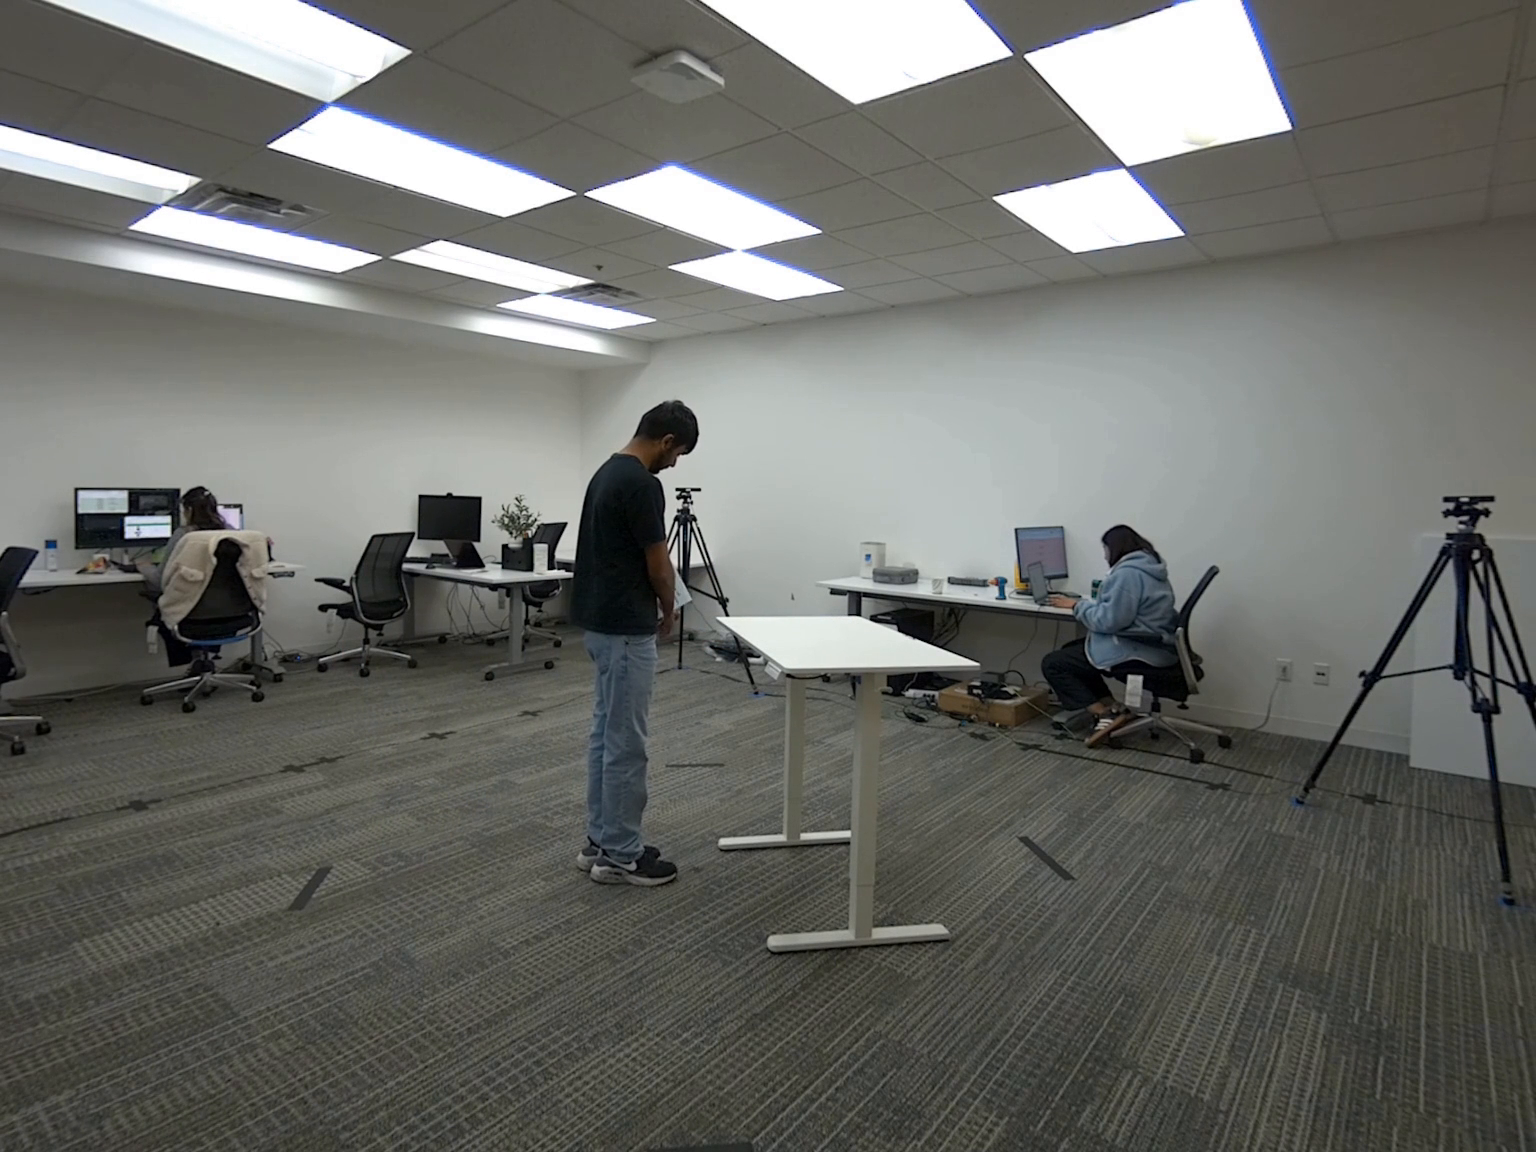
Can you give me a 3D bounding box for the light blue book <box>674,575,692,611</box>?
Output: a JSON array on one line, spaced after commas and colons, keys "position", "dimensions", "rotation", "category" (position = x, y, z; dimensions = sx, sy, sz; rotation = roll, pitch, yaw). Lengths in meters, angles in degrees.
[{"position": [-0.446, 0.063, 3.305], "dimensions": [0.257, 0.191, 0.060], "rotation": [-28, 0, -43], "category": "light blue book"}]
